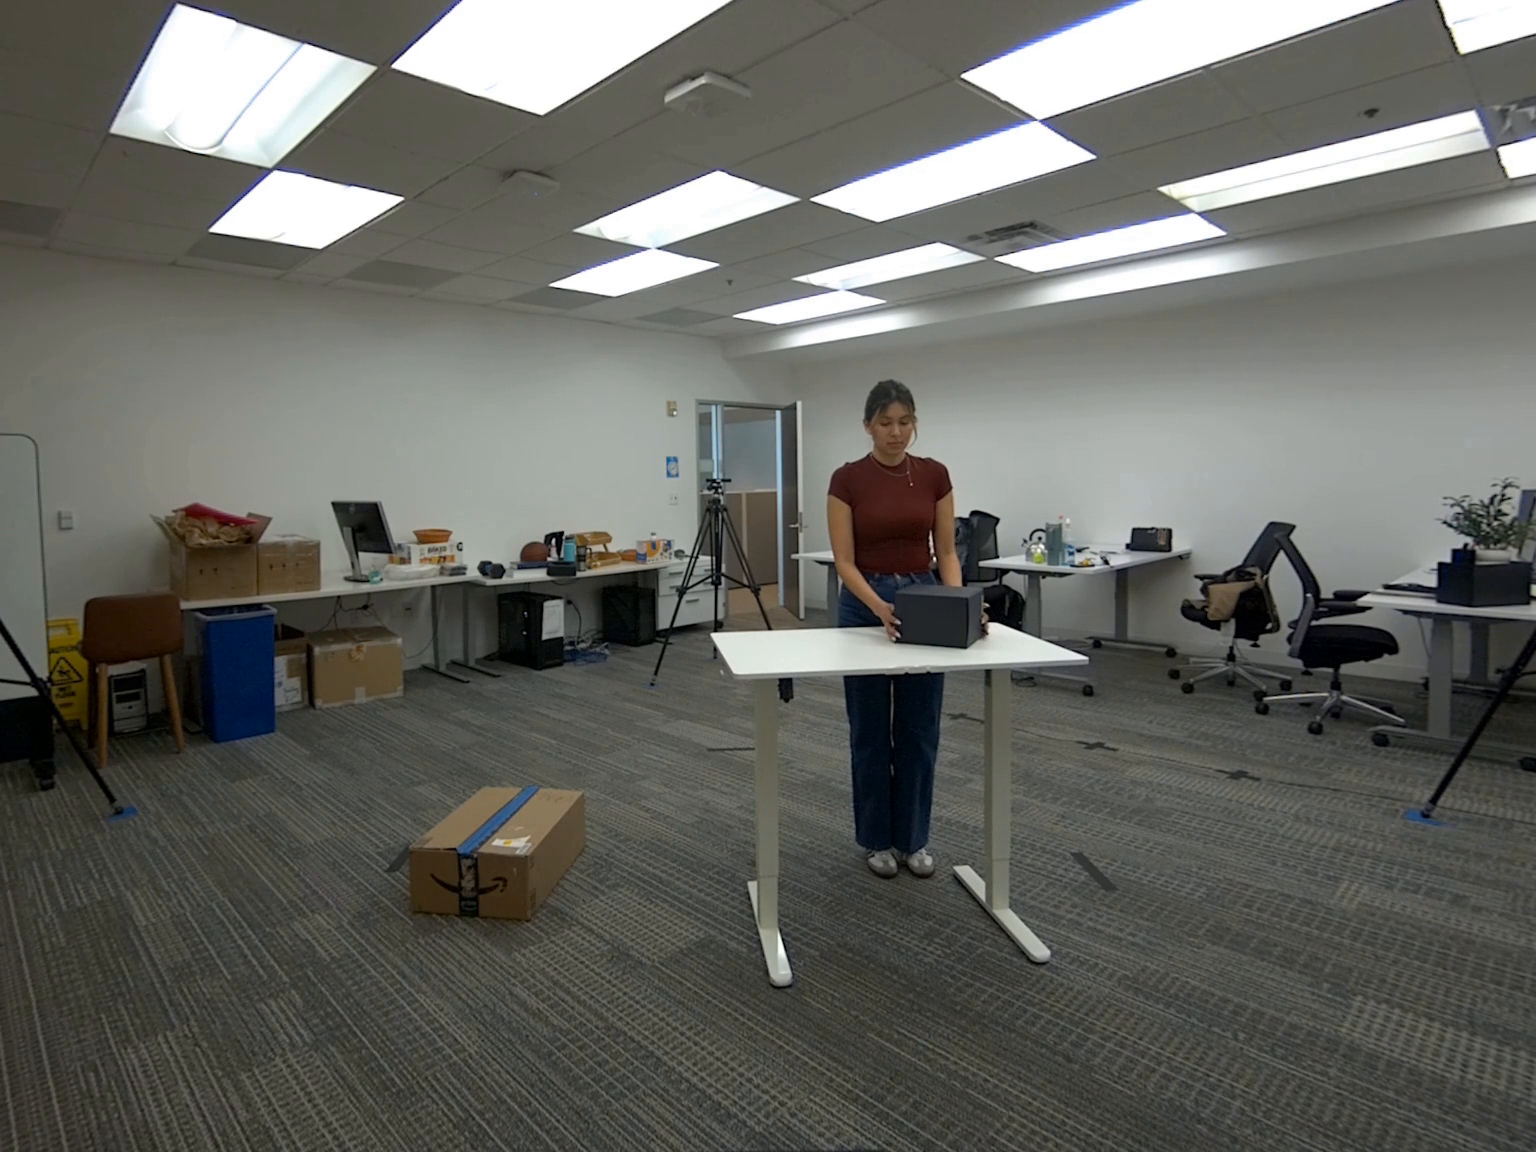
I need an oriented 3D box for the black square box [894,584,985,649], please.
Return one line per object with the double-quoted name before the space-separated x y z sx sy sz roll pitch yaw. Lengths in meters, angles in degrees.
"black square box" 0.551 0.119 2.670 0.233 0.155 0.212 2 6 28
